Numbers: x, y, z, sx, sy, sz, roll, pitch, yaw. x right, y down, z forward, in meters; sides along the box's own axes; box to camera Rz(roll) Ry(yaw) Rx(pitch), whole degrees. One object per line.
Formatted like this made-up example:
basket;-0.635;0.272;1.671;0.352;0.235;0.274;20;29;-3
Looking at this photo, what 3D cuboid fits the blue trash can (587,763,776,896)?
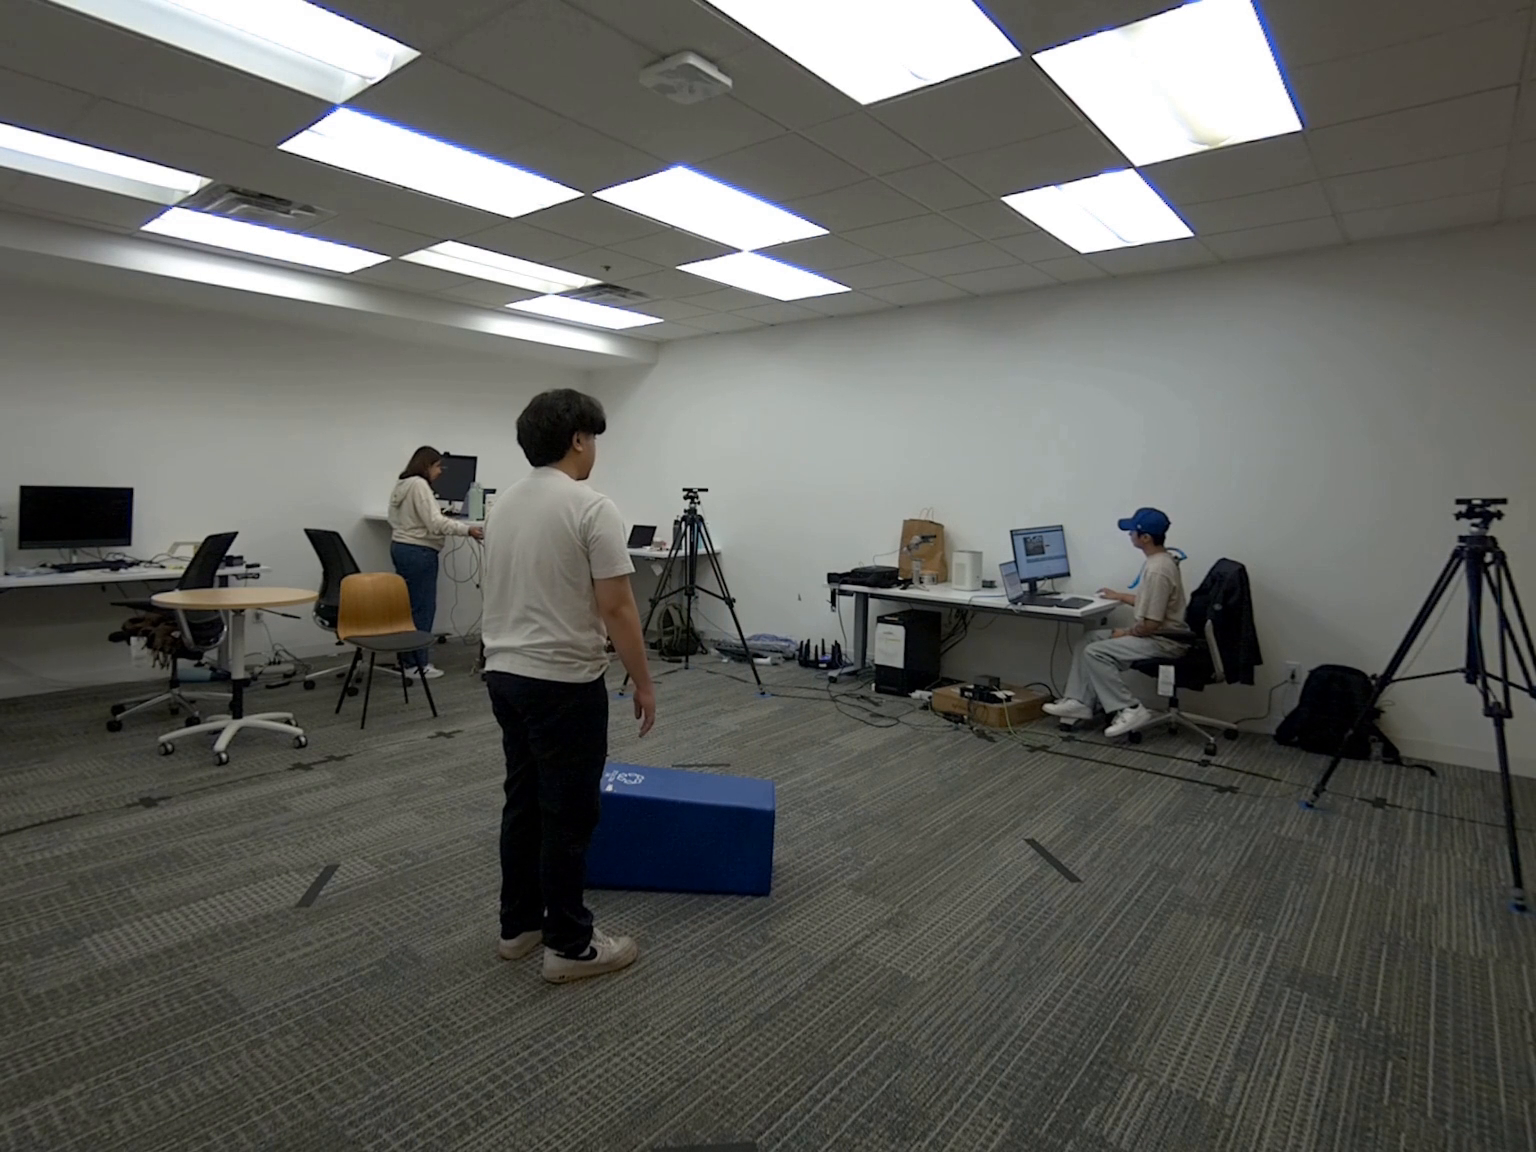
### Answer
blue trash can;-0.347;0.904;3.069;0.716;0.377;0.374;4;3;2
